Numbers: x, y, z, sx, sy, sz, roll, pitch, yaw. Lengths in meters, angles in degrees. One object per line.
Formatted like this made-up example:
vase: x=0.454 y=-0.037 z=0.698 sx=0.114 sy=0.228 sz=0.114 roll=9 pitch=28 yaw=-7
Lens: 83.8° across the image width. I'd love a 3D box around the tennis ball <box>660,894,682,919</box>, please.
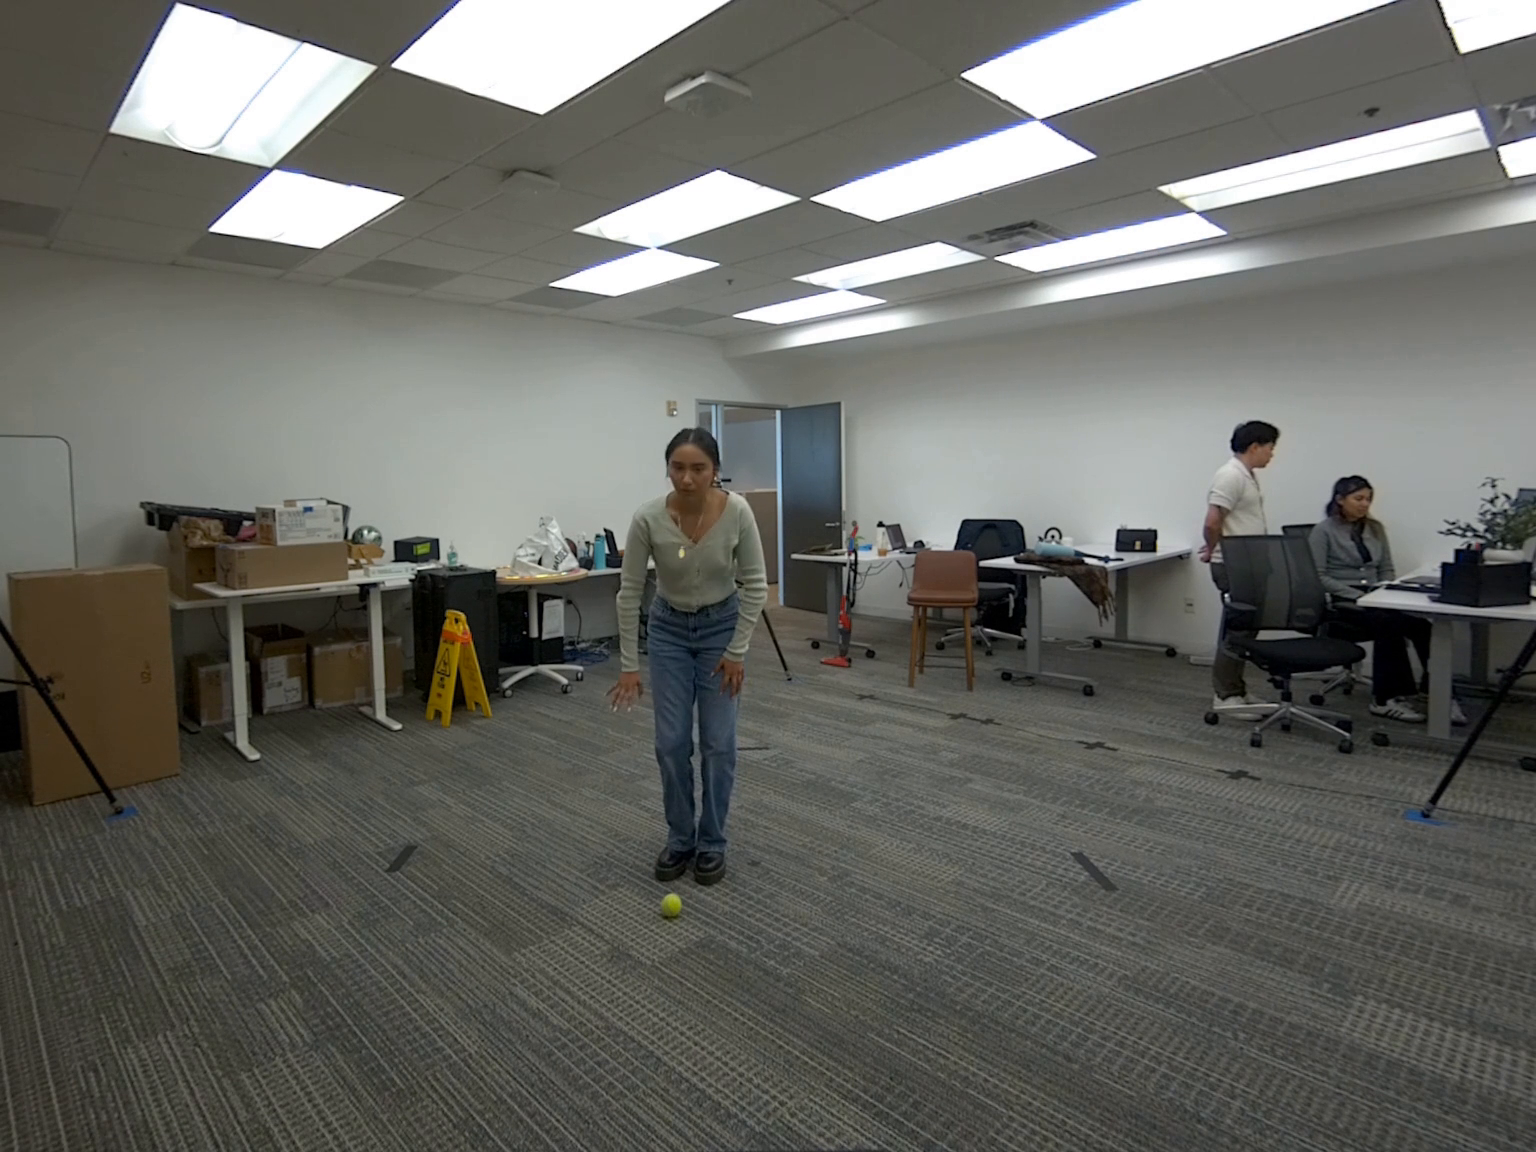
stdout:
tennis ball: x=-0.306 y=1.049 z=2.740 sx=0.066 sy=0.066 sz=0.067 roll=-1 pitch=5 yaw=-2
